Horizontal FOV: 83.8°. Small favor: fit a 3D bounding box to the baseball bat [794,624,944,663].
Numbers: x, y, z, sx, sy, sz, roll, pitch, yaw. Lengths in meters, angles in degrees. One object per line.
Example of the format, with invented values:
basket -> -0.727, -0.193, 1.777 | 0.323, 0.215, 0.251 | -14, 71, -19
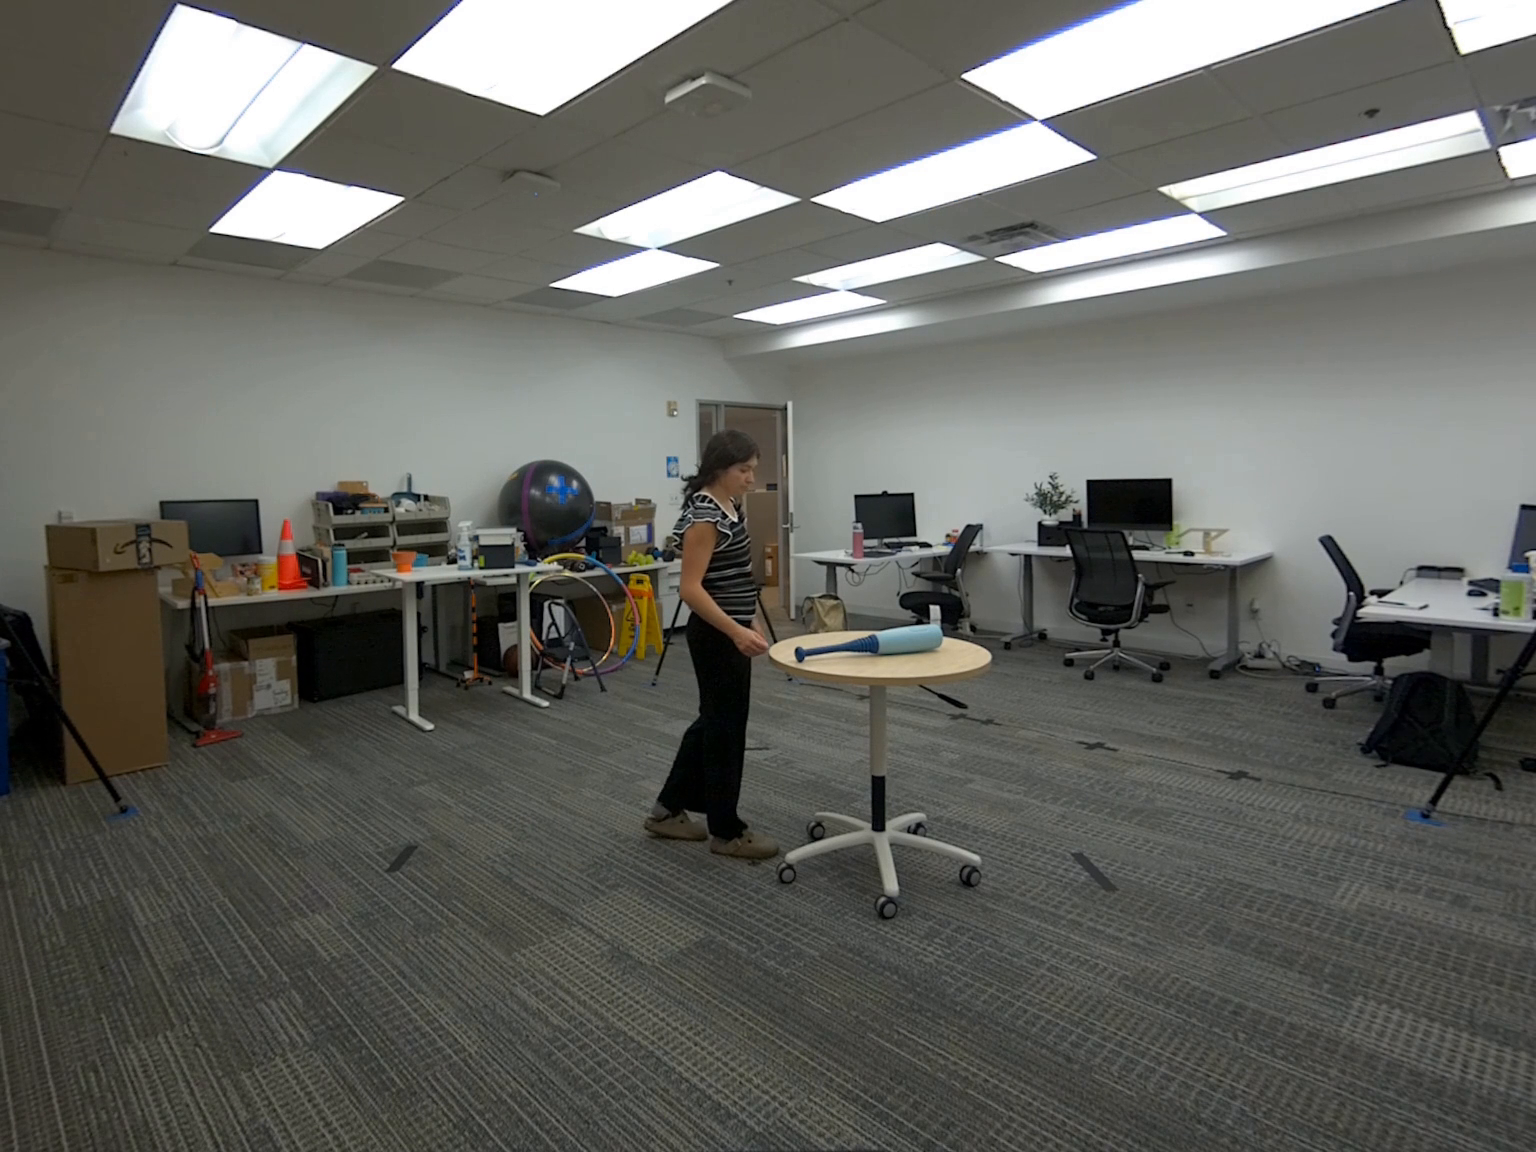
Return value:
baseball bat -> 0.350, 0.239, 2.925 | 0.534, 0.088, 0.091 | -6, 6, -19
